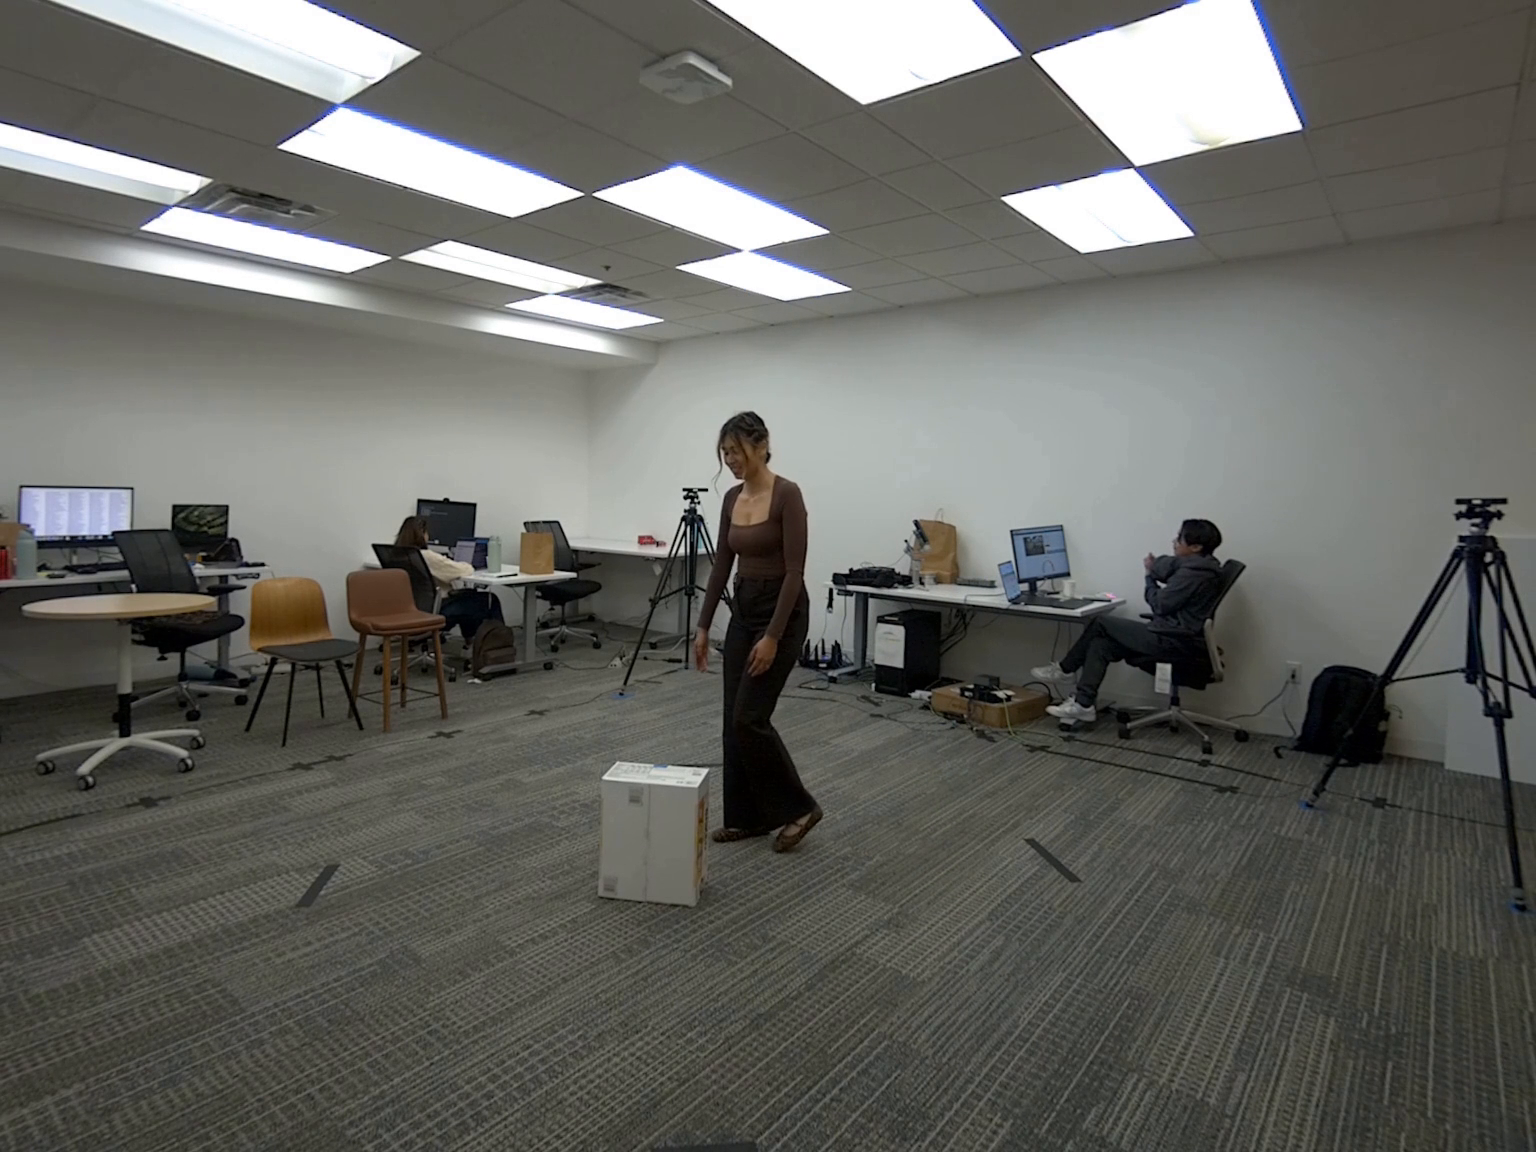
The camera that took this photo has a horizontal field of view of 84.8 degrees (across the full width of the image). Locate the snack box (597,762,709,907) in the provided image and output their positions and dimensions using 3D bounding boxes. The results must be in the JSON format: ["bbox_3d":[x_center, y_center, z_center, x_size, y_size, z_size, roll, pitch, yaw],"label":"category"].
[{"bbox_3d":[-0.402,0.879,2.935,0.344,0.404,0.204,2,3,9],"label":"snack box"}]
